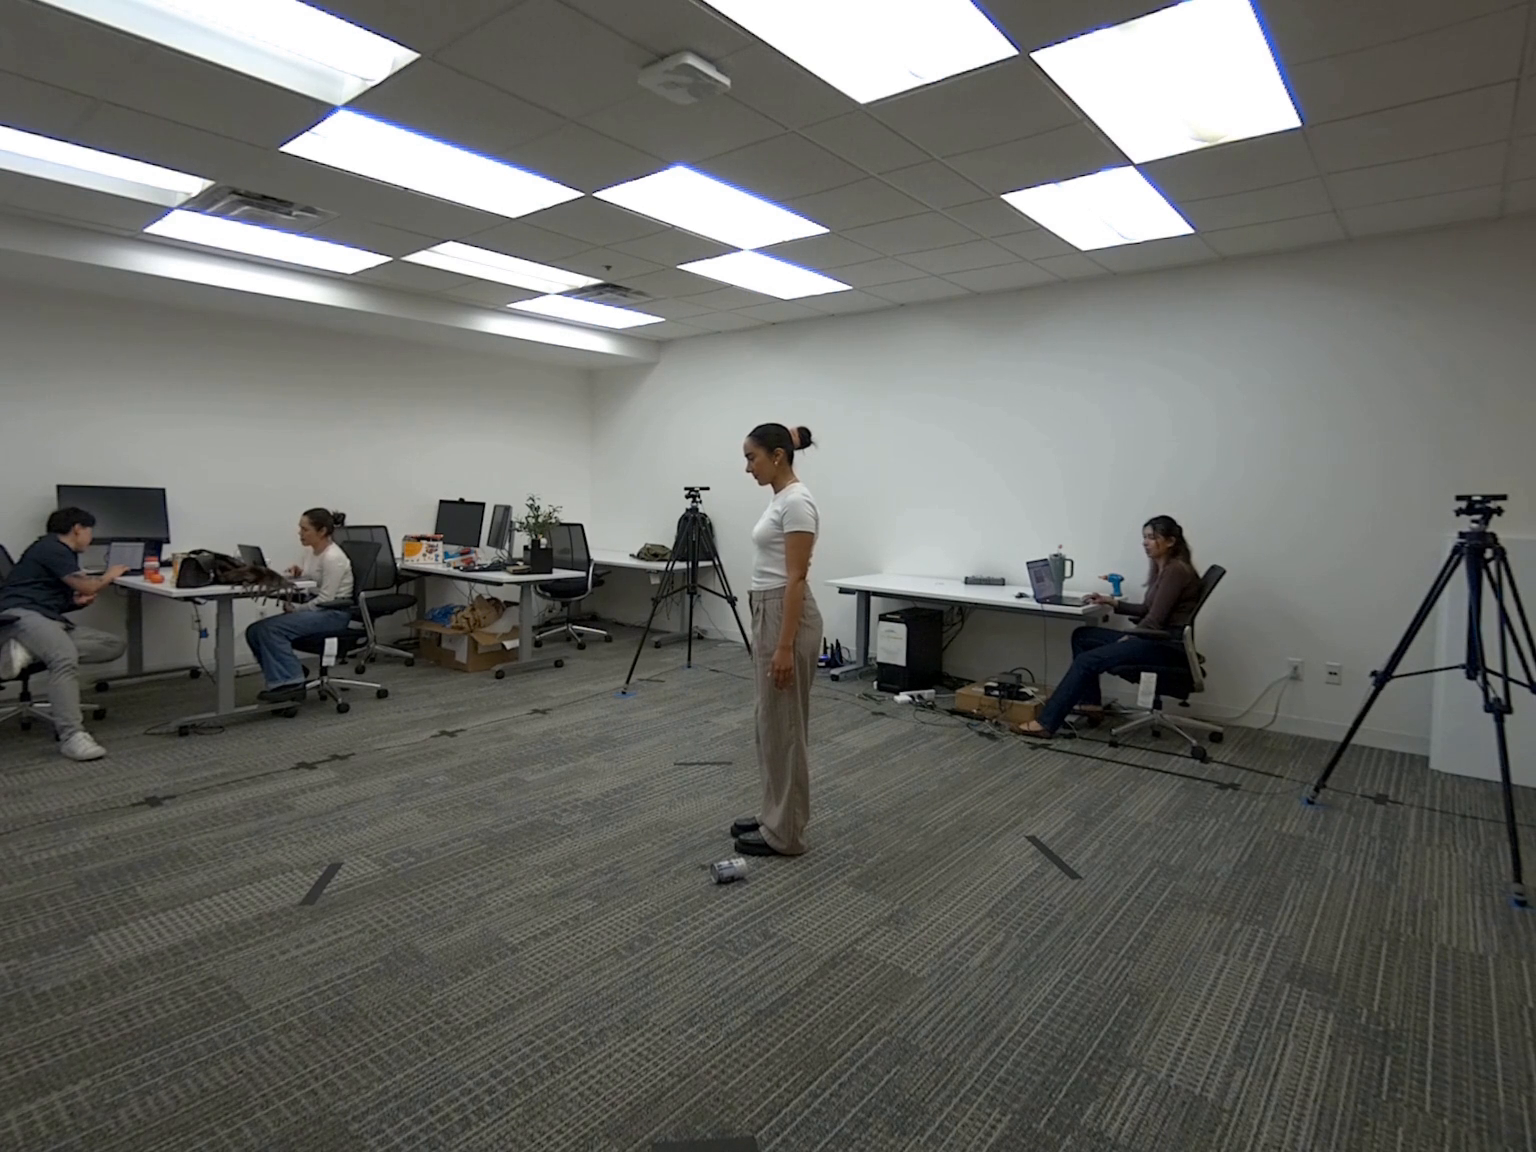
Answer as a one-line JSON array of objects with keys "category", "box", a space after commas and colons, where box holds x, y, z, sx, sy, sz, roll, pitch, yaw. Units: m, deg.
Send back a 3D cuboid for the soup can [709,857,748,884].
[{"category": "soup can", "box": [-0.143, 1.036, 3.016, 0.119, 0.067, 0.069, -4, 6, -25]}]
